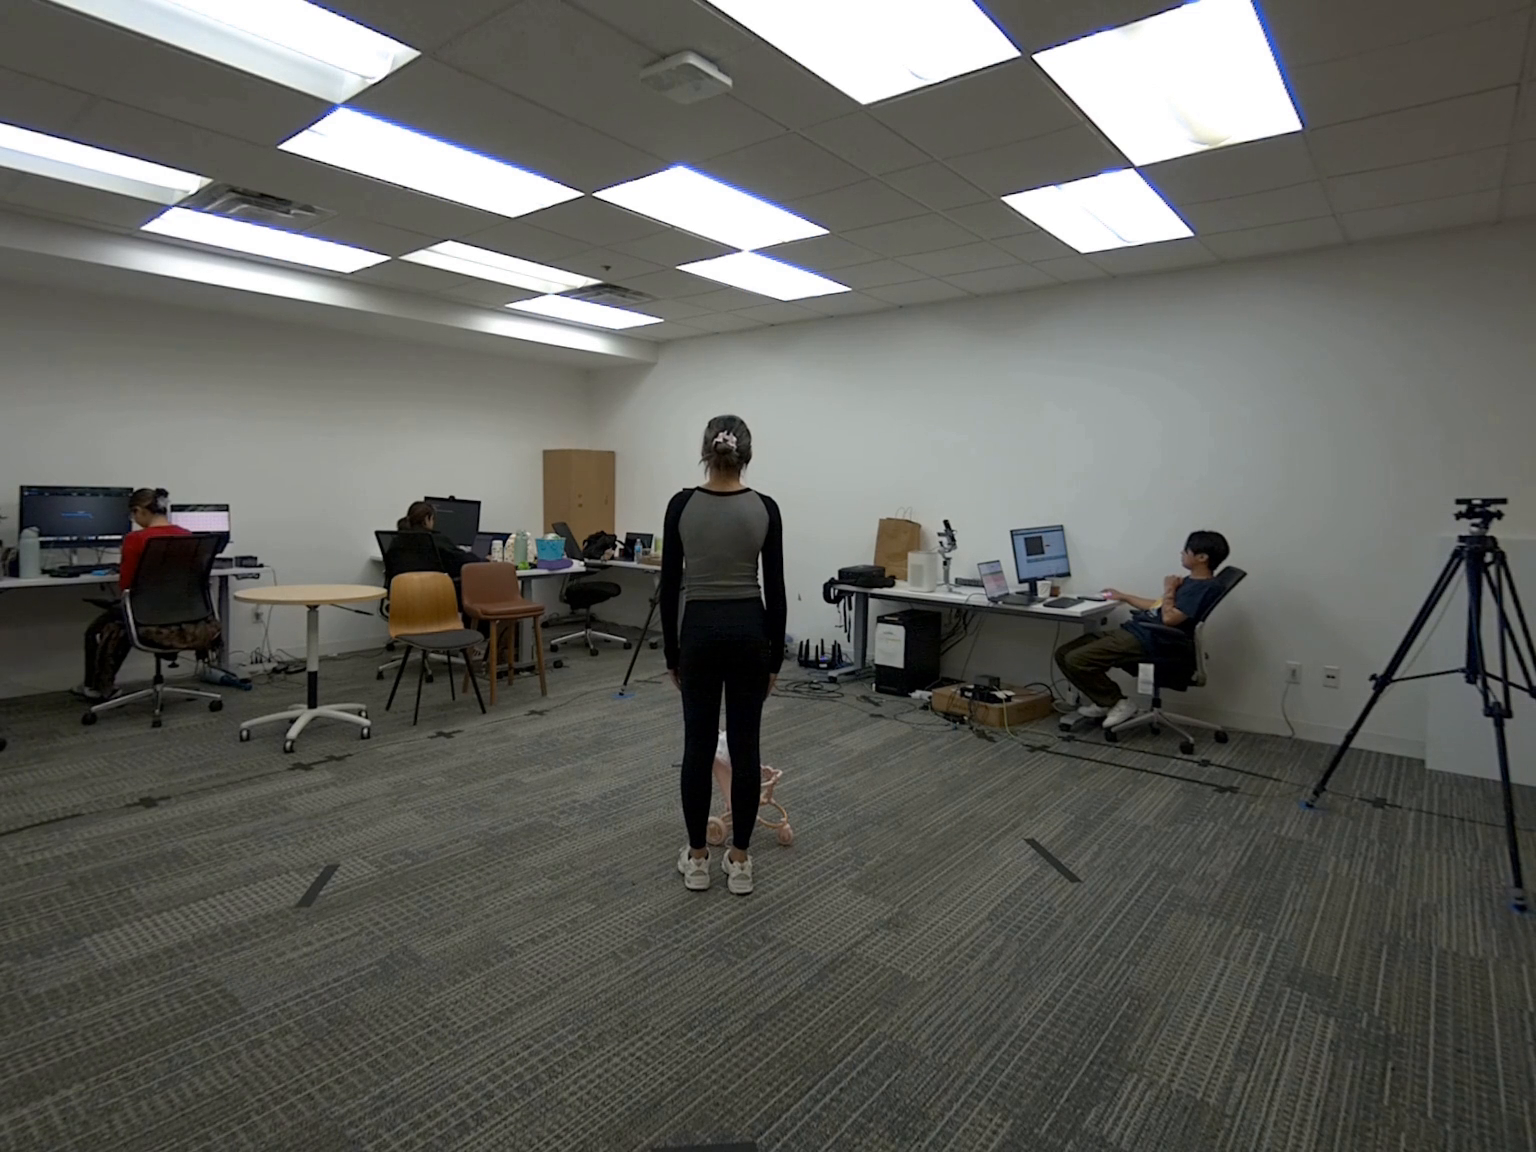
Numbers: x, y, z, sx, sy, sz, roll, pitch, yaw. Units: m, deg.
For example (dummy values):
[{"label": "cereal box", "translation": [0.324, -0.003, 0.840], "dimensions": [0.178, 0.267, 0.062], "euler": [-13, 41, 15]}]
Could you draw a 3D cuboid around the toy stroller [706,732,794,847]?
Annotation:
[{"label": "toy stroller", "translation": [-0.112, 0.817, 3.403], "dimensions": [0.348, 0.537, 0.275], "euler": [-14, -3, 25]}]
